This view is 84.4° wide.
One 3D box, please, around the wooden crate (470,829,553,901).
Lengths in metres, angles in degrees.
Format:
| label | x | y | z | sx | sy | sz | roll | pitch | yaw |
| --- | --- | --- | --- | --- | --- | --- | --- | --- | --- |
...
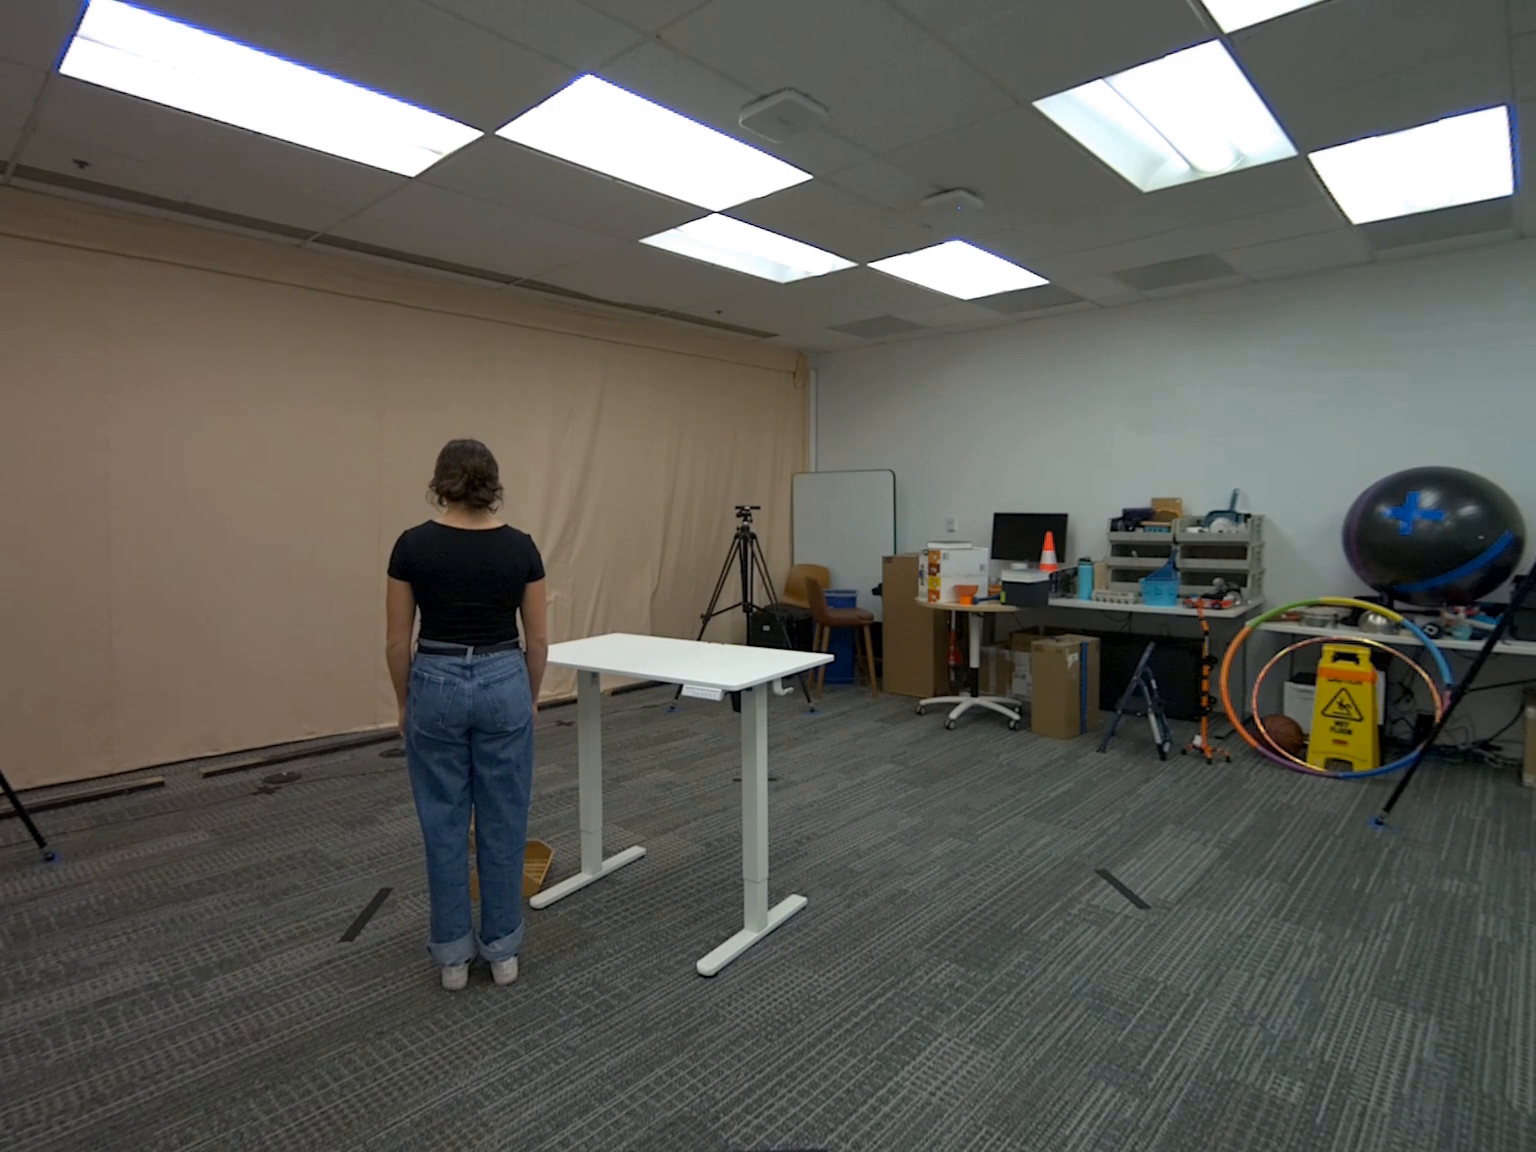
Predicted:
| label | x | y | z | sx | sy | sz | roll | pitch | yaw |
| --- | --- | --- | --- | --- | --- | --- | --- | --- | --- |
| wooden crate | -0.960 | 0.999 | 3.144 | 0.301 | 0.273 | 0.326 | -2 | 4 | -4 |
